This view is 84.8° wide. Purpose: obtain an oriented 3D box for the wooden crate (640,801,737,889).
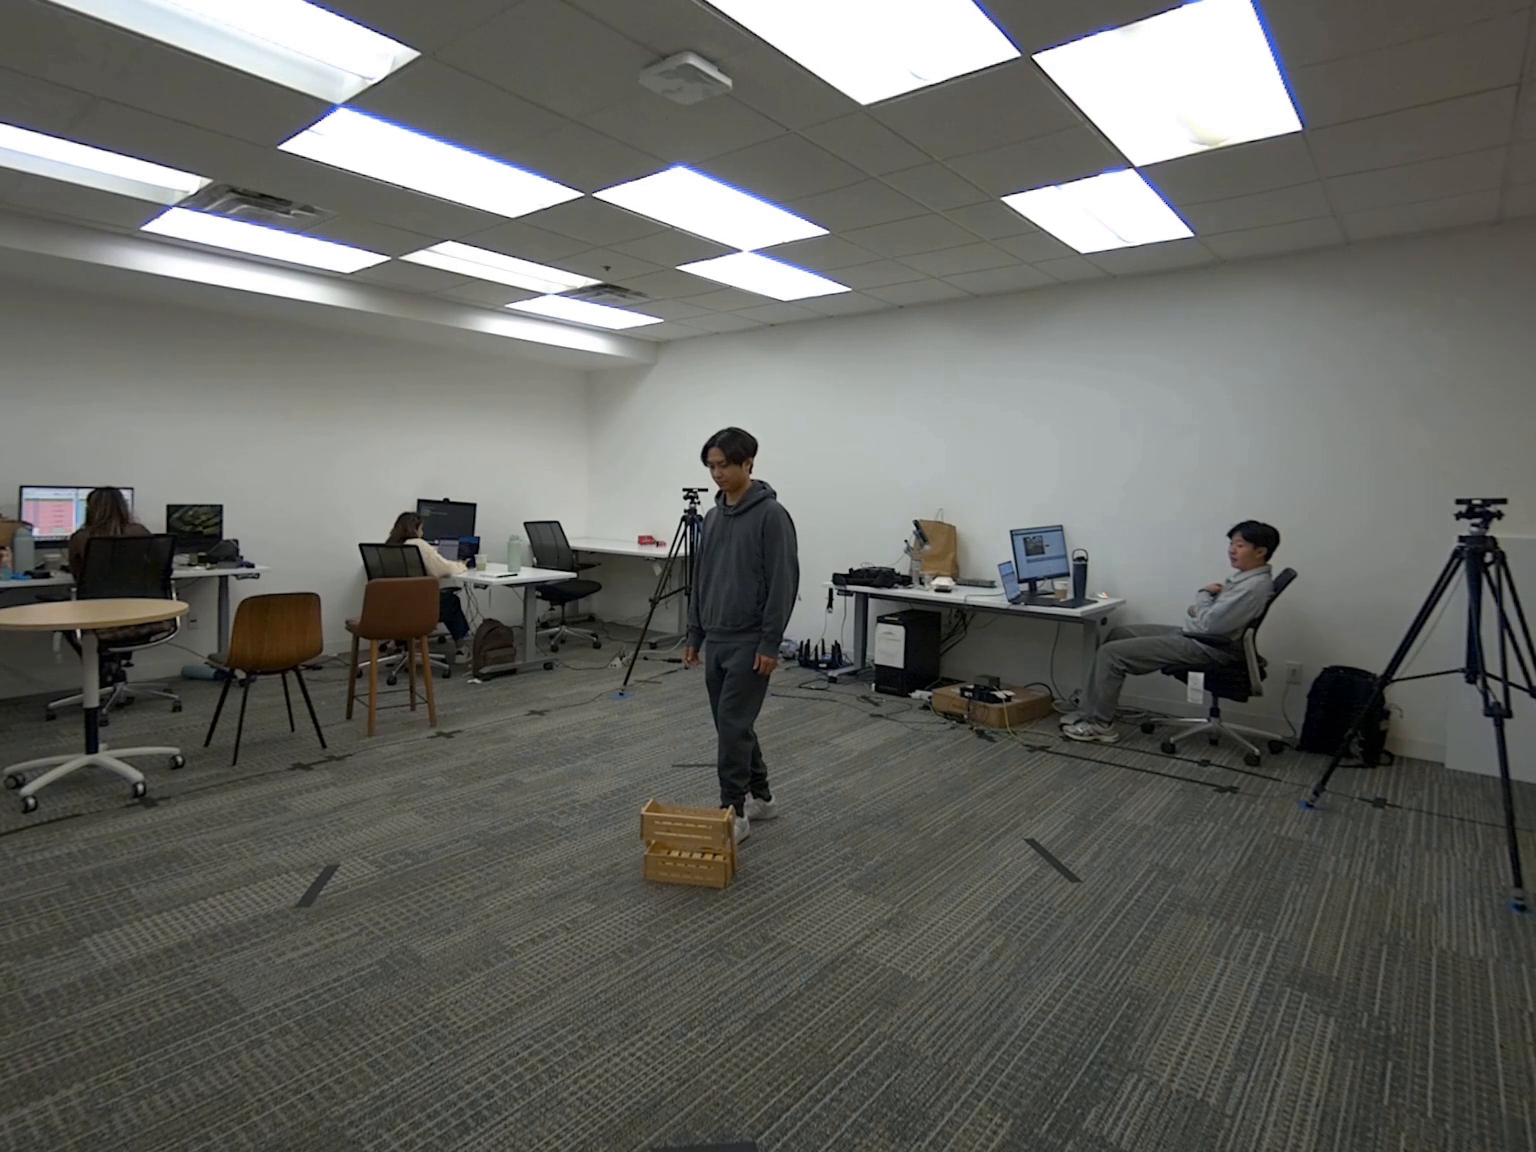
[{"bbox_3d":[-0.288,0.937,3.083,0.328,0.272,0.300,2,4,8],"label":"wooden crate"}]
